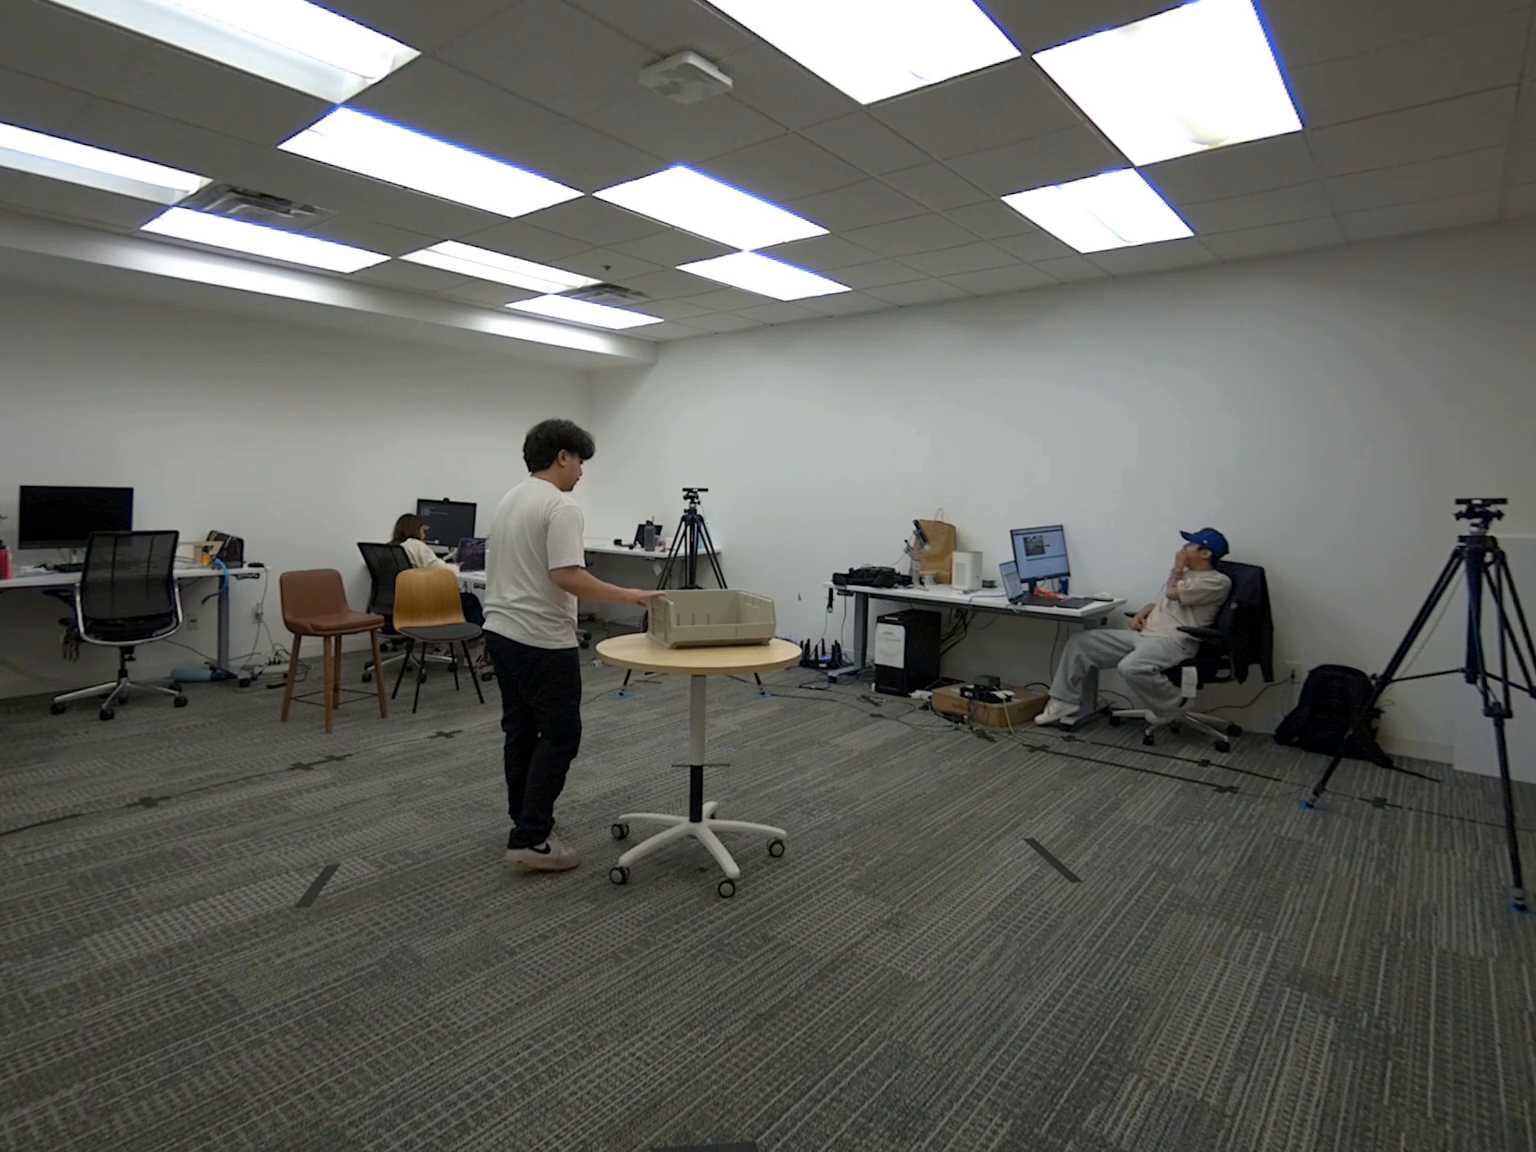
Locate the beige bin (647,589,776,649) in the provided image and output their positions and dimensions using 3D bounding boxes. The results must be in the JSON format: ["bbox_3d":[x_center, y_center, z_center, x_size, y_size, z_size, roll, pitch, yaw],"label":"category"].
[{"bbox_3d":[-0.244,0.167,3.322,0.413,0.188,0.386,-1,4,-22],"label":"beige bin"}]
